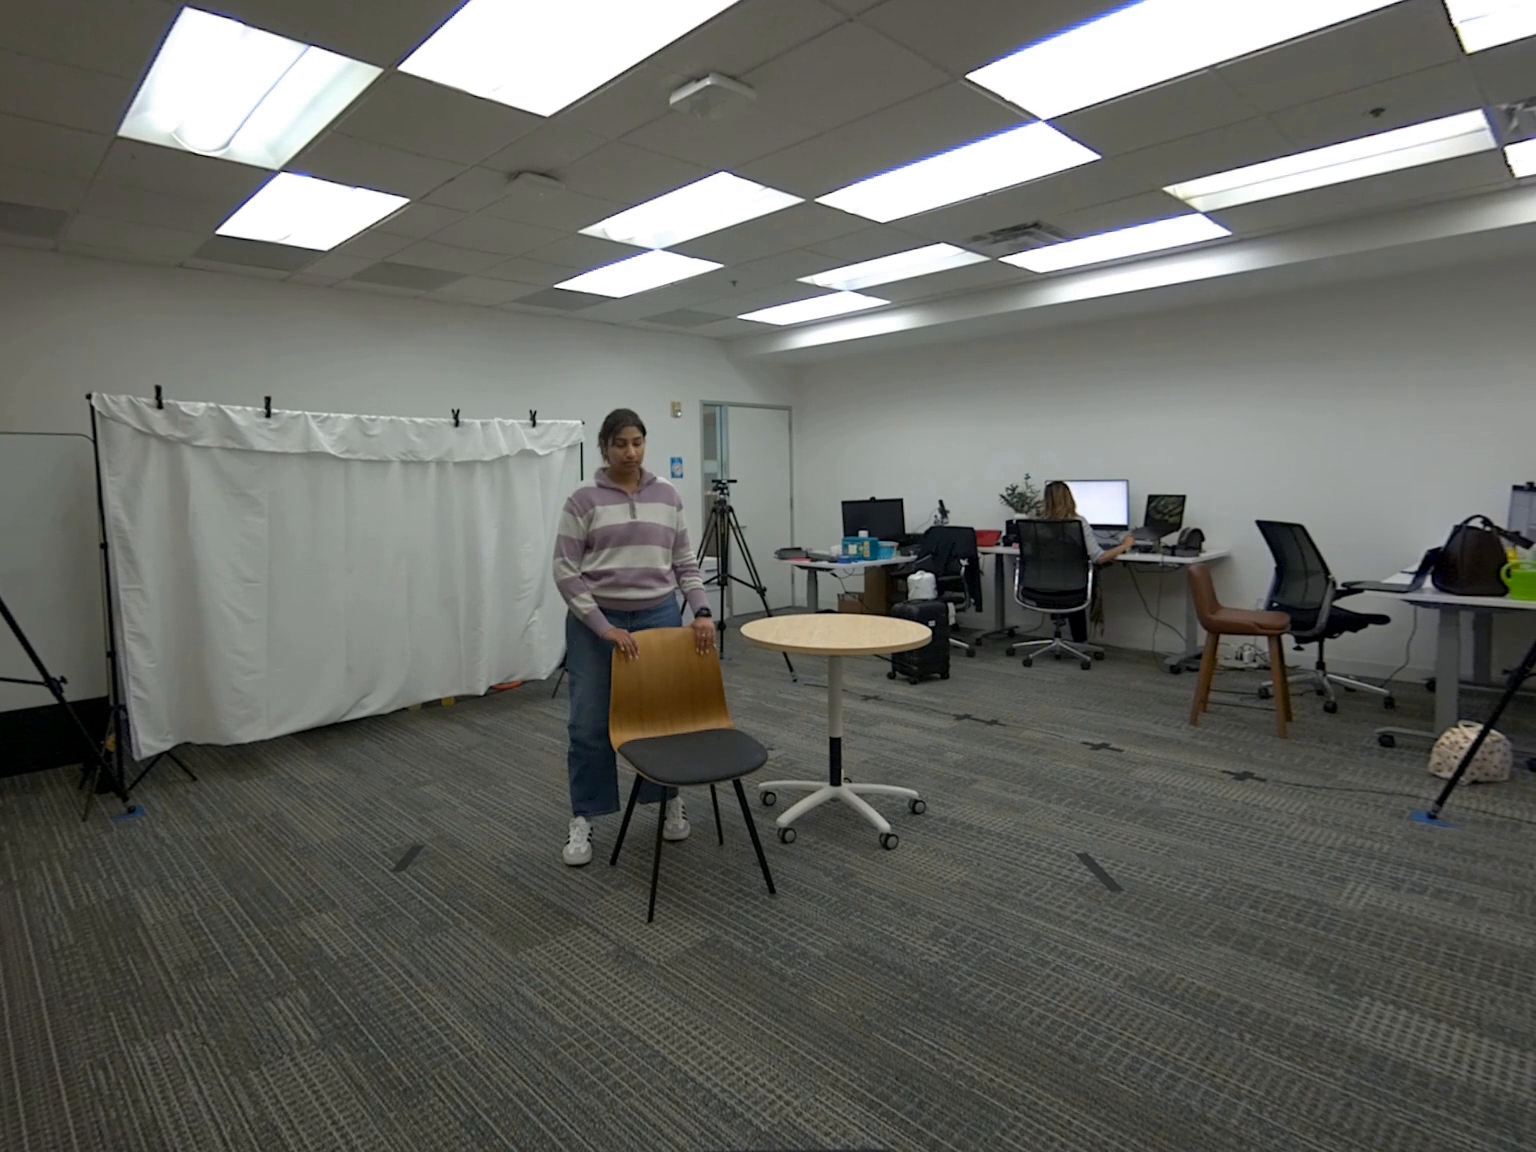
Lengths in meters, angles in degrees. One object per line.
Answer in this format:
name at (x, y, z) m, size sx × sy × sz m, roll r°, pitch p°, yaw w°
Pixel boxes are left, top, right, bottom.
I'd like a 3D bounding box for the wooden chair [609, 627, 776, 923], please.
wooden chair at (-0.275, 0.642, 2.955) m, size 0.468 × 0.877 × 0.534 m, roll -3°, pitch 0°, yaw -25°
